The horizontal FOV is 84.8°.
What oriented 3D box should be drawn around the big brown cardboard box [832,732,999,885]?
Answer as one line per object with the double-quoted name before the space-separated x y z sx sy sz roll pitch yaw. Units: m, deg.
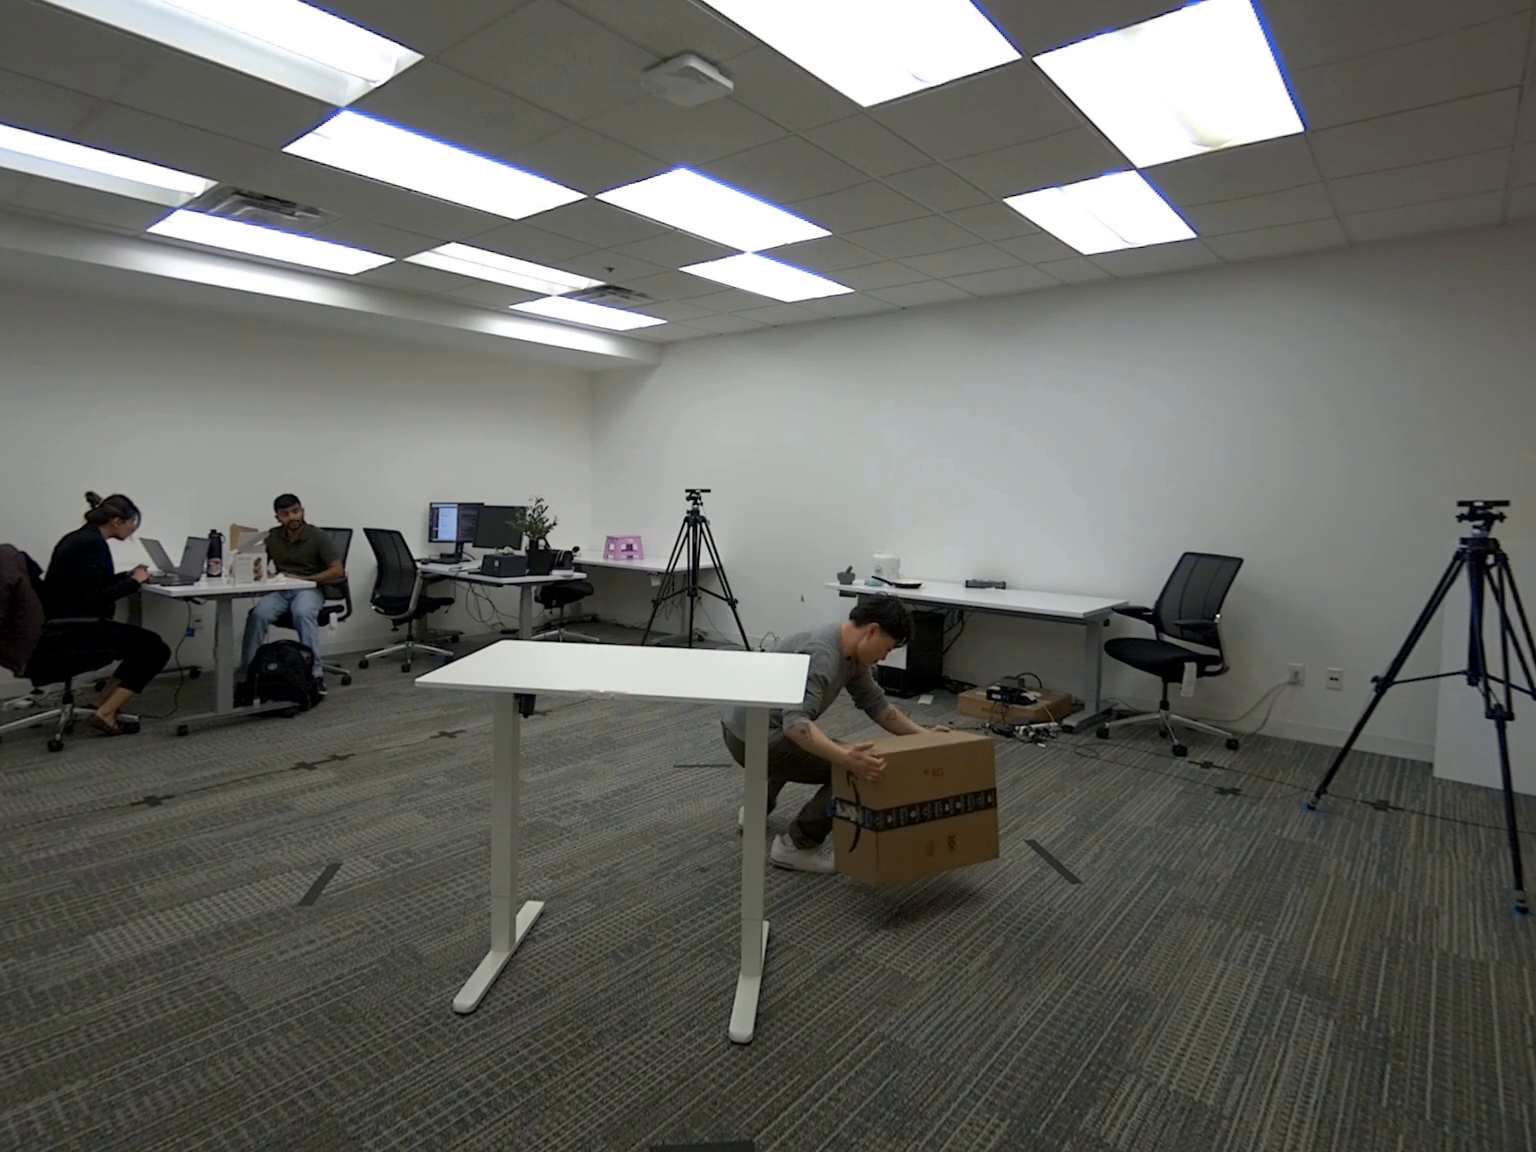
"big brown cardboard box" 0.498 0.769 2.928 0.572 0.419 0.239 1 -4 -31
